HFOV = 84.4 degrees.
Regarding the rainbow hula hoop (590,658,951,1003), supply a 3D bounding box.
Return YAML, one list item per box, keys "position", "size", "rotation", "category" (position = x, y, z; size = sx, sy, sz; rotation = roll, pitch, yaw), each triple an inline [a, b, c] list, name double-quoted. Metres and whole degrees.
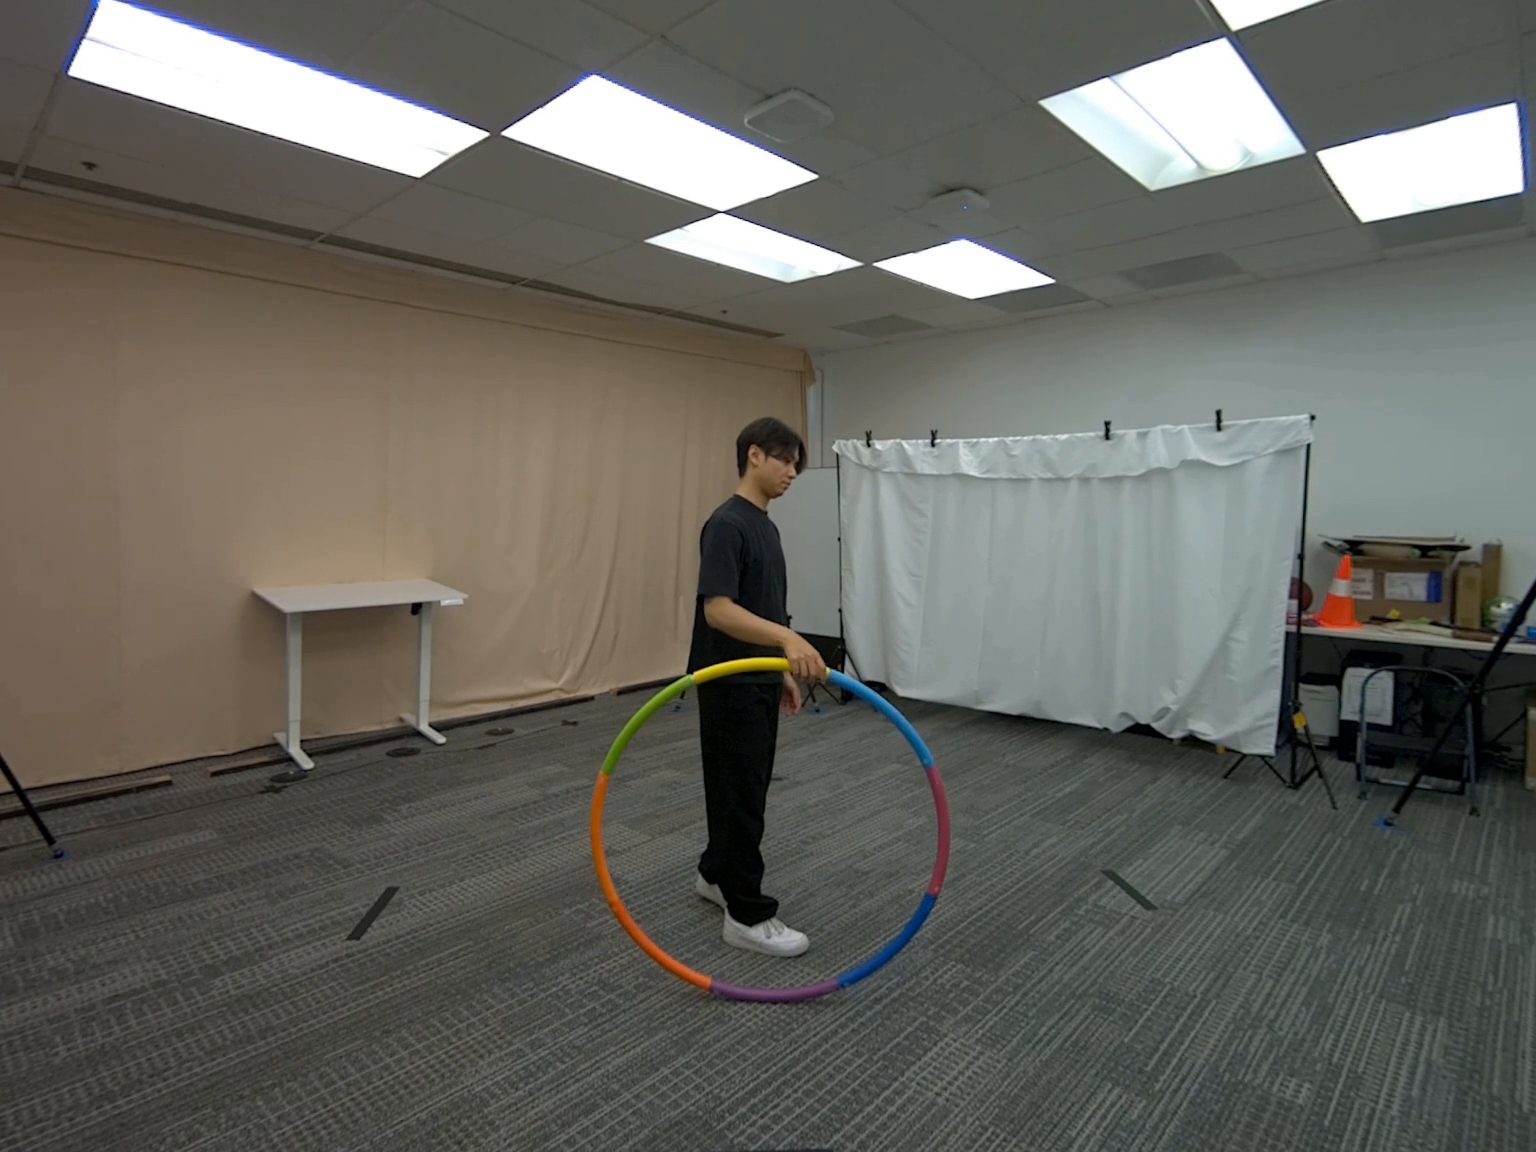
- position: [0.008, 0.717, 2.320]
  size: [0.983, 0.975, 0.035]
  rotation: [0, 6, 4]
  category: "rainbow hula hoop"
